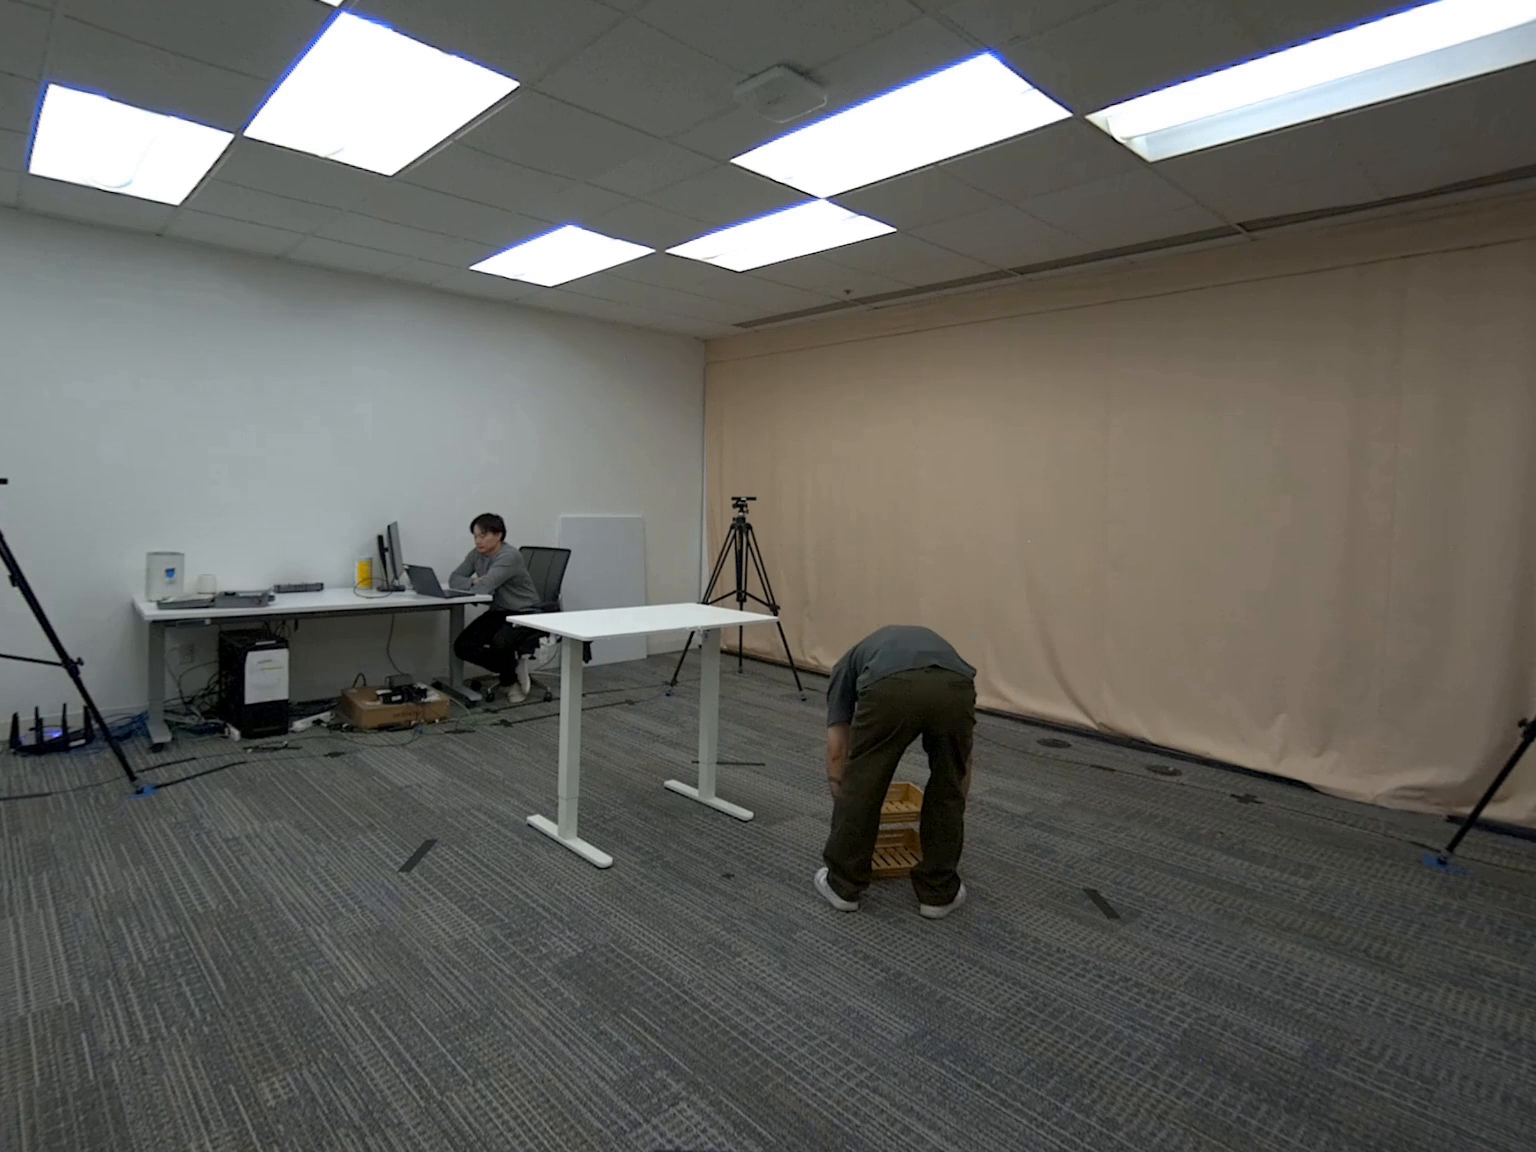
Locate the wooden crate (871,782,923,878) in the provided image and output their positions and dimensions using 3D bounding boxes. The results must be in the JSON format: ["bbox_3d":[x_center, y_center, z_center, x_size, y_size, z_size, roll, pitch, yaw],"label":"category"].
[{"bbox_3d":[0.466,0.983,3.253,0.321,0.273,0.306,0,3,-14],"label":"wooden crate"}]
